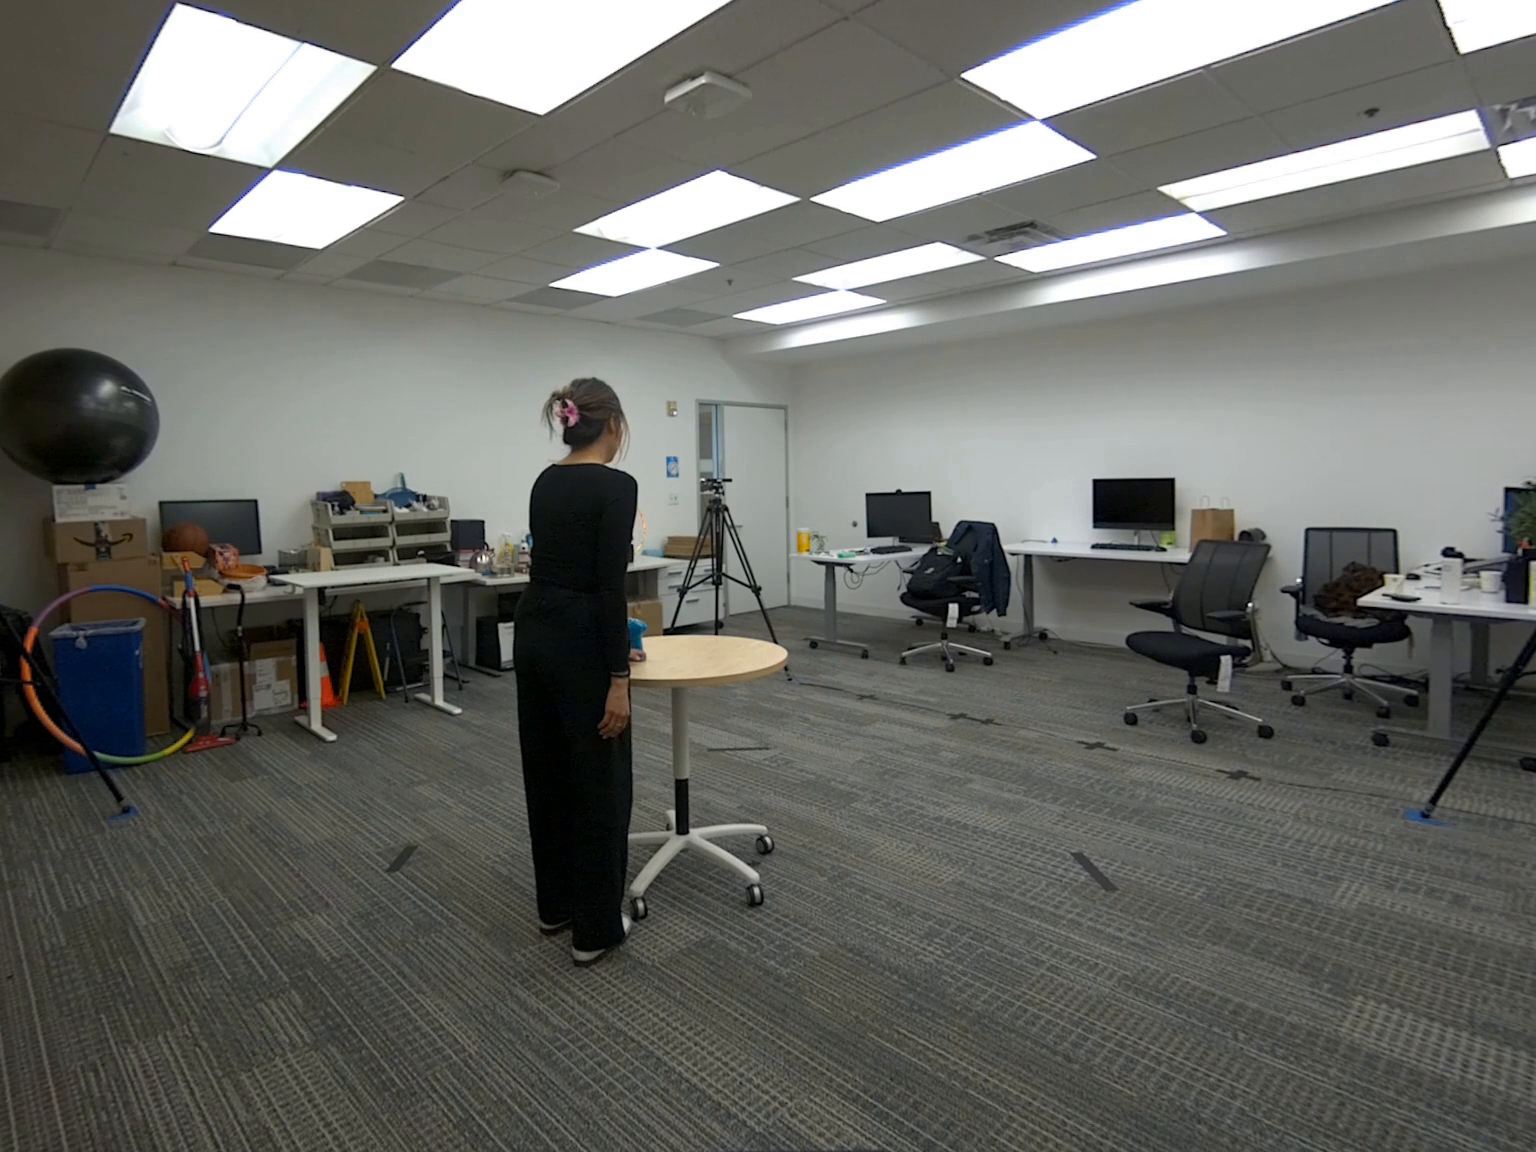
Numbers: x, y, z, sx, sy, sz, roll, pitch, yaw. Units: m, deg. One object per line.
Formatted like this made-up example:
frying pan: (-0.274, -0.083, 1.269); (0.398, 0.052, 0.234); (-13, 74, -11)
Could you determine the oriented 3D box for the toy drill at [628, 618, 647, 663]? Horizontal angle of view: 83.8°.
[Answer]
toy drill: (-0.483, 0.215, 2.938); (0.172, 0.146, 0.060); (0, 3, 16)
